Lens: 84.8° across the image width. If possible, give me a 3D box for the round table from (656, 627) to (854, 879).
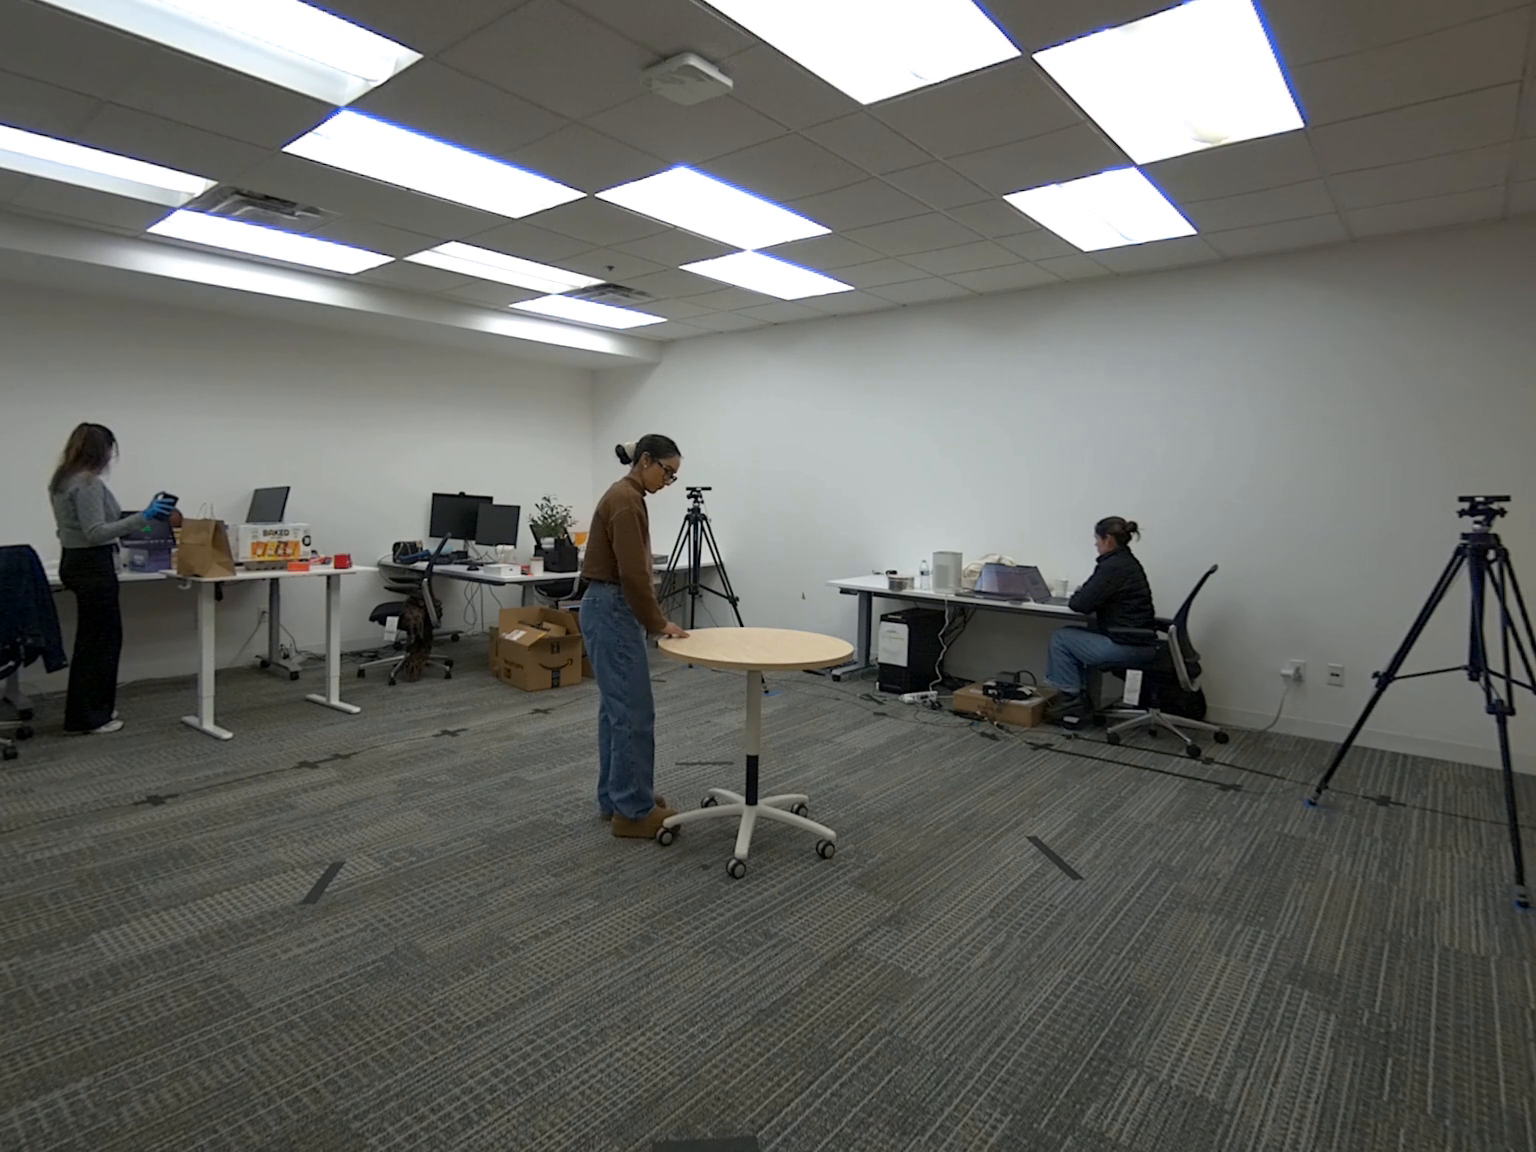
[{"bbox_3d":[-0.067,0.656,3.364,0.763,0.791,0.768,1,4,-2],"label":"round table"}]
